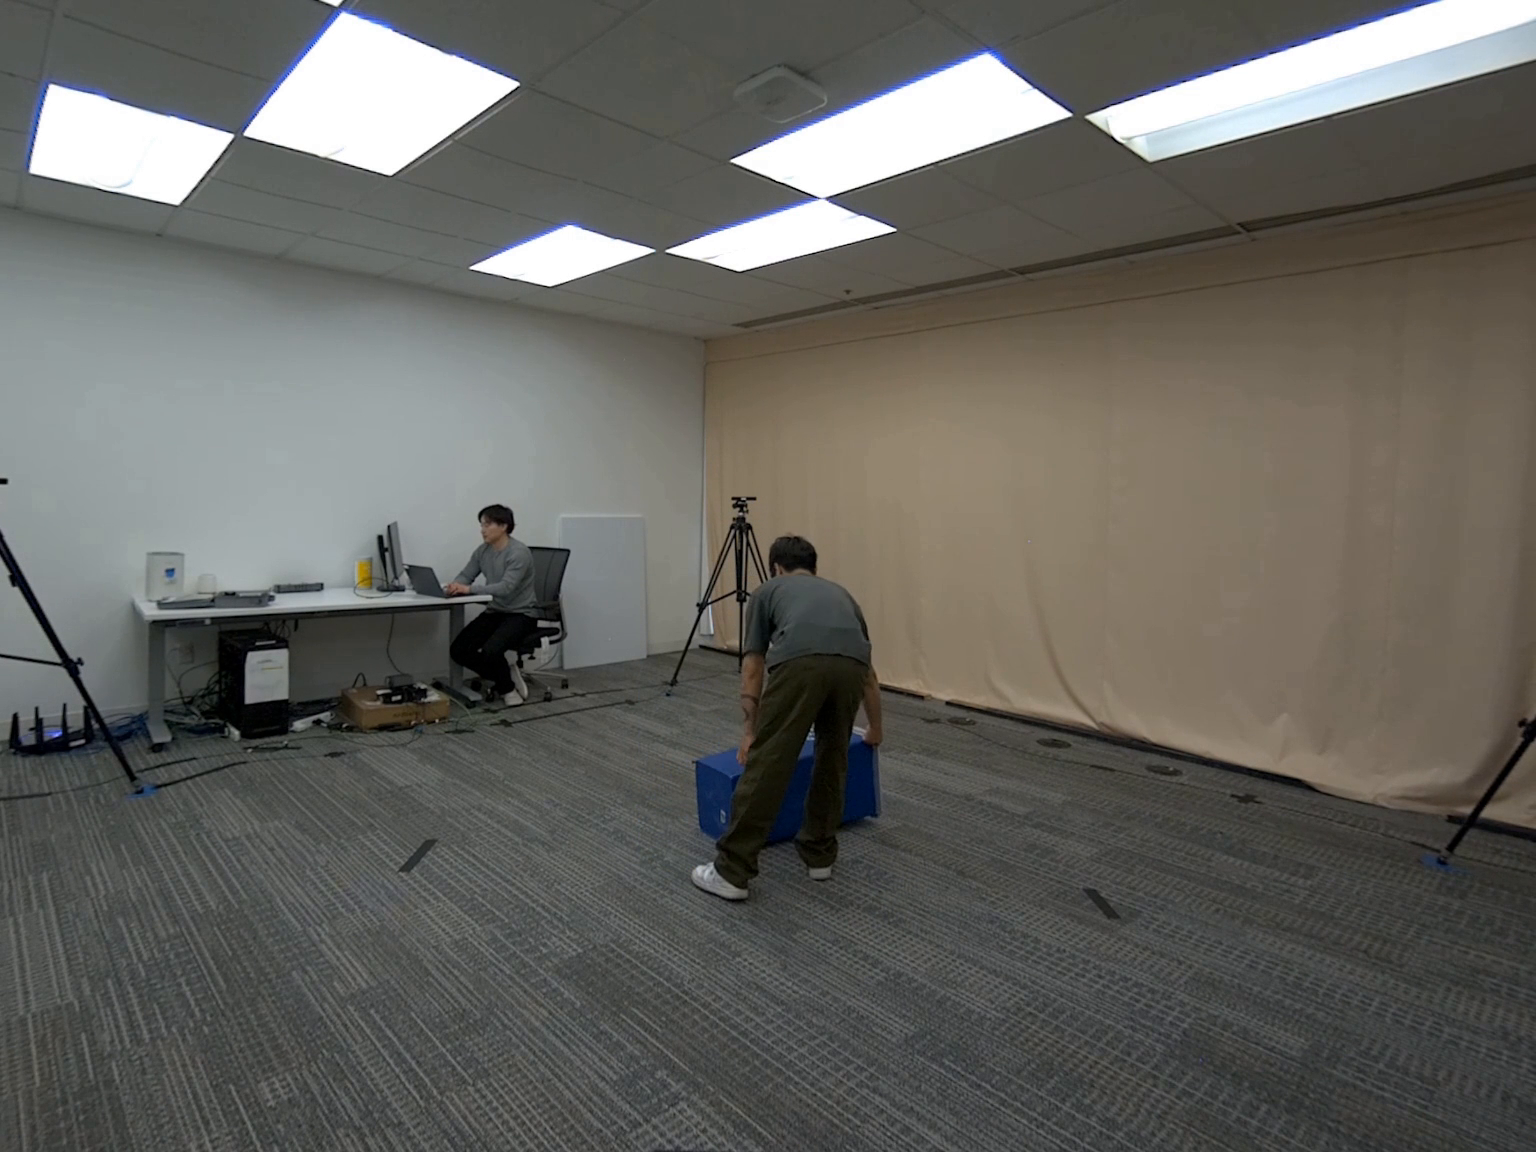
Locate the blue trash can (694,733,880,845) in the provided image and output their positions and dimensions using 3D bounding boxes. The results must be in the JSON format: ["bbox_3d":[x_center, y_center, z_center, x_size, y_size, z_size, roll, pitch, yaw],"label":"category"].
[{"bbox_3d":[0.078,0.880,3.577,0.700,0.373,0.386,-6,6,-31],"label":"blue trash can"}]
